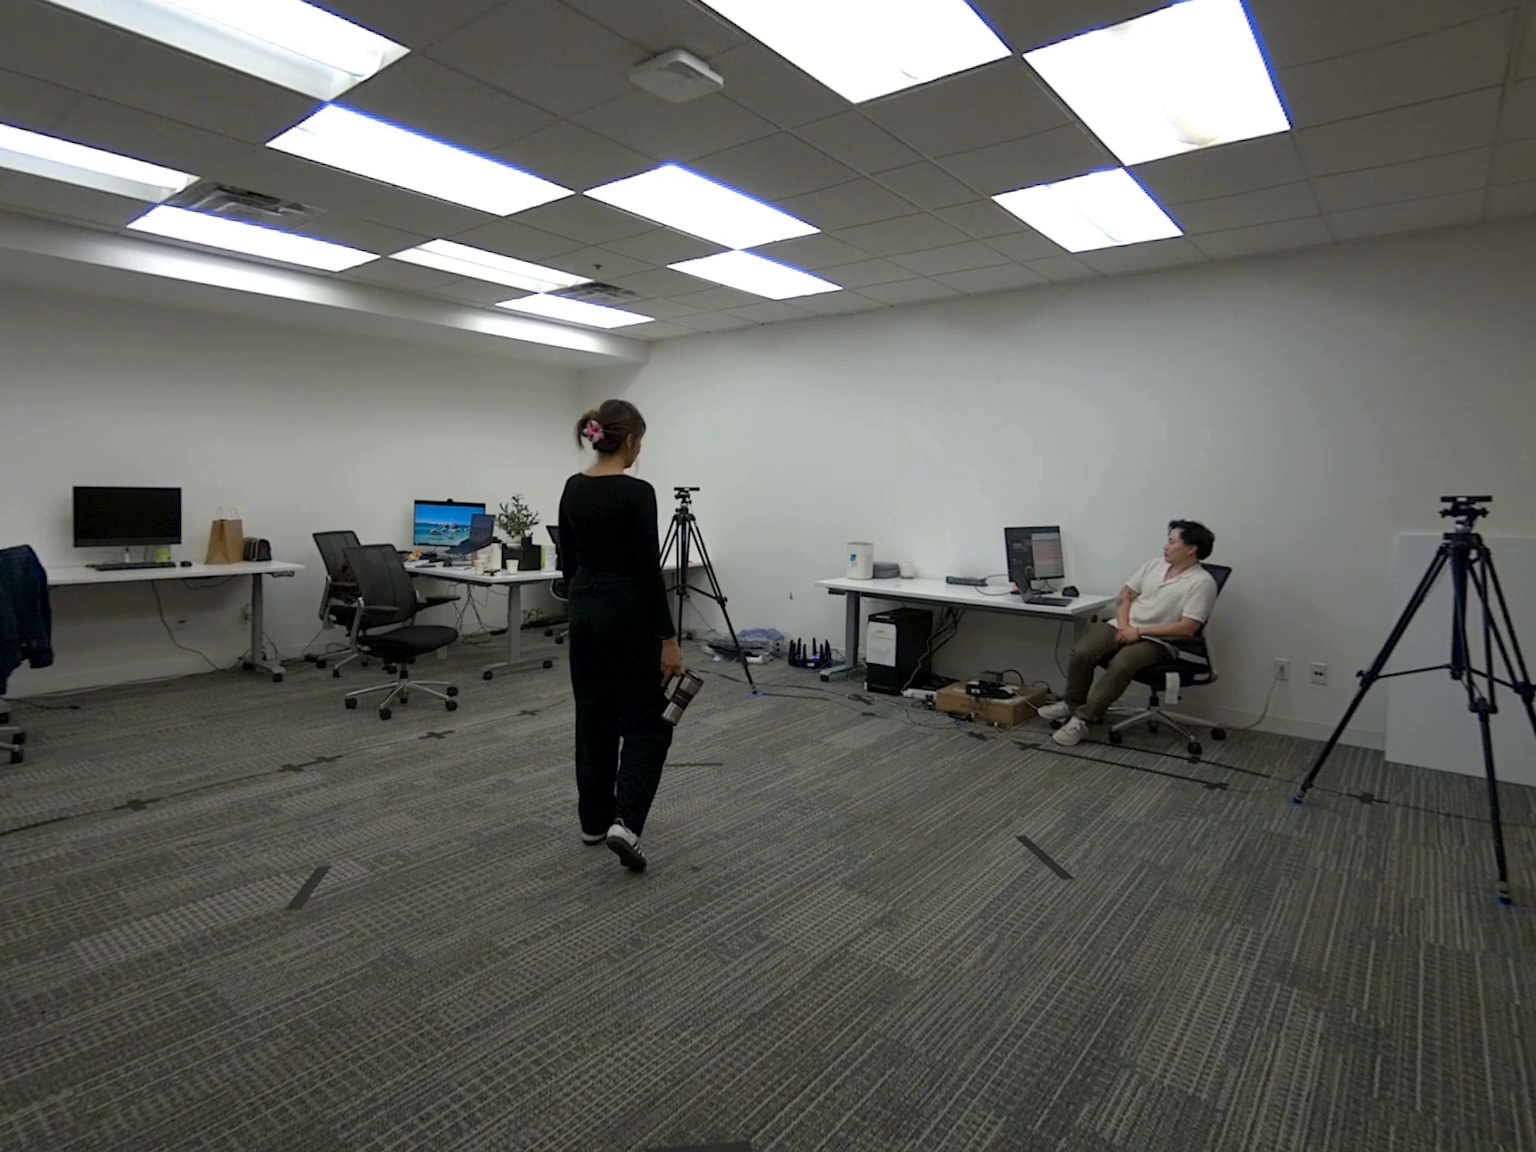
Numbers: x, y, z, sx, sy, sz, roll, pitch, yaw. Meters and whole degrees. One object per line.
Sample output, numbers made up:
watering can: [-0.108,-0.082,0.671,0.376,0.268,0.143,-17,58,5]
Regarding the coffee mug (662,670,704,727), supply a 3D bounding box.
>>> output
coffee mug: [-0.349,0.449,3.167,0.127,0.203,0.084,29,-1,35]
